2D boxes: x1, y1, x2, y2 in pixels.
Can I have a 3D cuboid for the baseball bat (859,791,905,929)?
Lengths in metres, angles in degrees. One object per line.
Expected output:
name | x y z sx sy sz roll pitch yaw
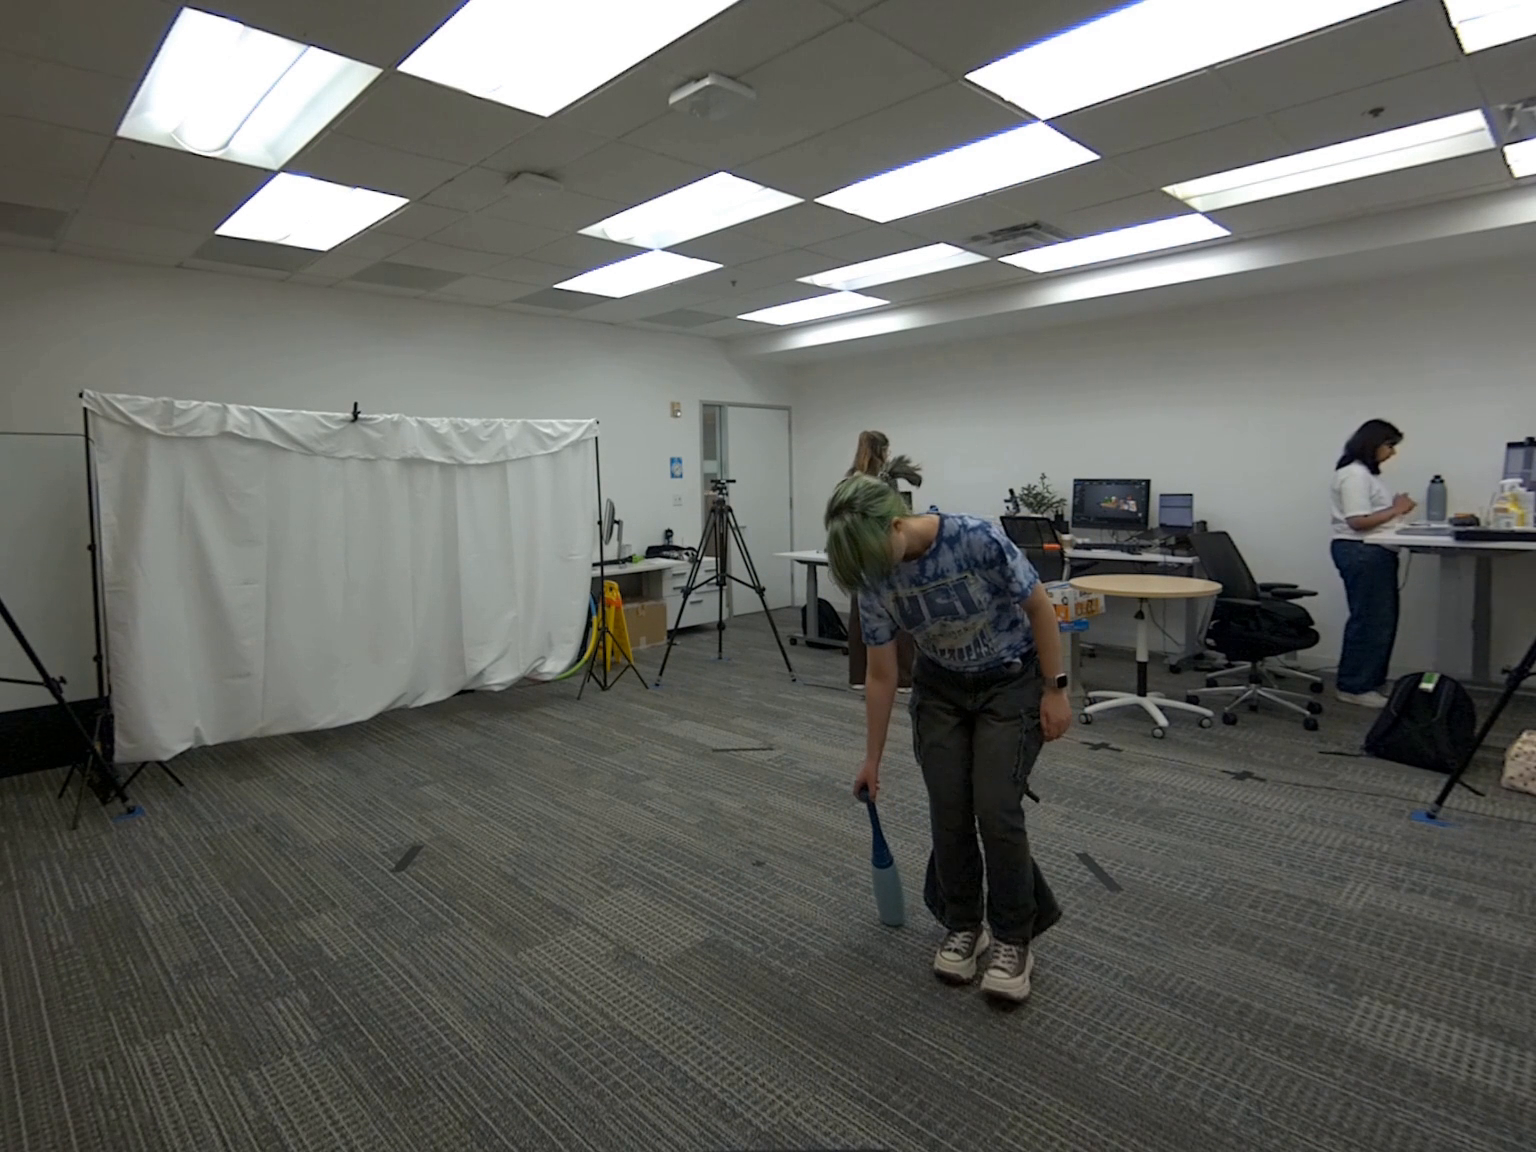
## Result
baseball bat | 0.352 0.849 2.577 0.089 0.529 0.091 -10 27 4
